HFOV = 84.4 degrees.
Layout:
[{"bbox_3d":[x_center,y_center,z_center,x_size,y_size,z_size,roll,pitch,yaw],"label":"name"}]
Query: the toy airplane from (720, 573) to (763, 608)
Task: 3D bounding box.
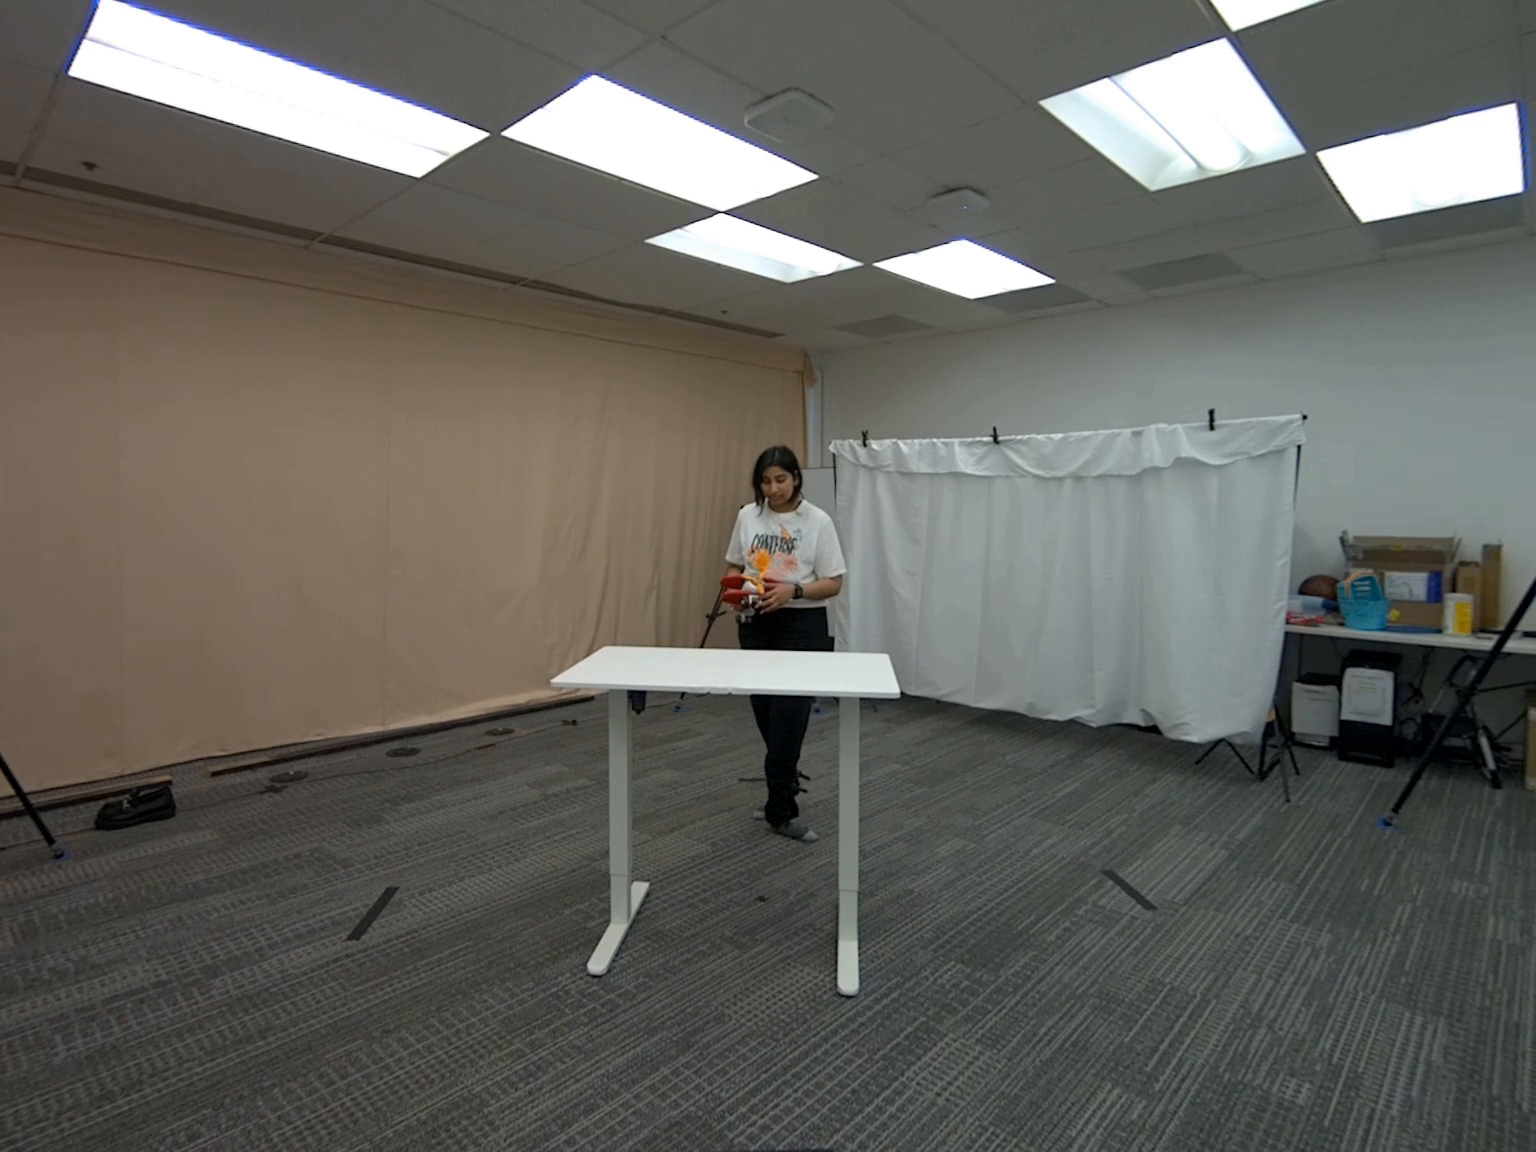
[{"bbox_3d":[-0.092,0.094,3.504,0.242,0.158,0.265,18,-29,-39],"label":"toy airplane"}]
